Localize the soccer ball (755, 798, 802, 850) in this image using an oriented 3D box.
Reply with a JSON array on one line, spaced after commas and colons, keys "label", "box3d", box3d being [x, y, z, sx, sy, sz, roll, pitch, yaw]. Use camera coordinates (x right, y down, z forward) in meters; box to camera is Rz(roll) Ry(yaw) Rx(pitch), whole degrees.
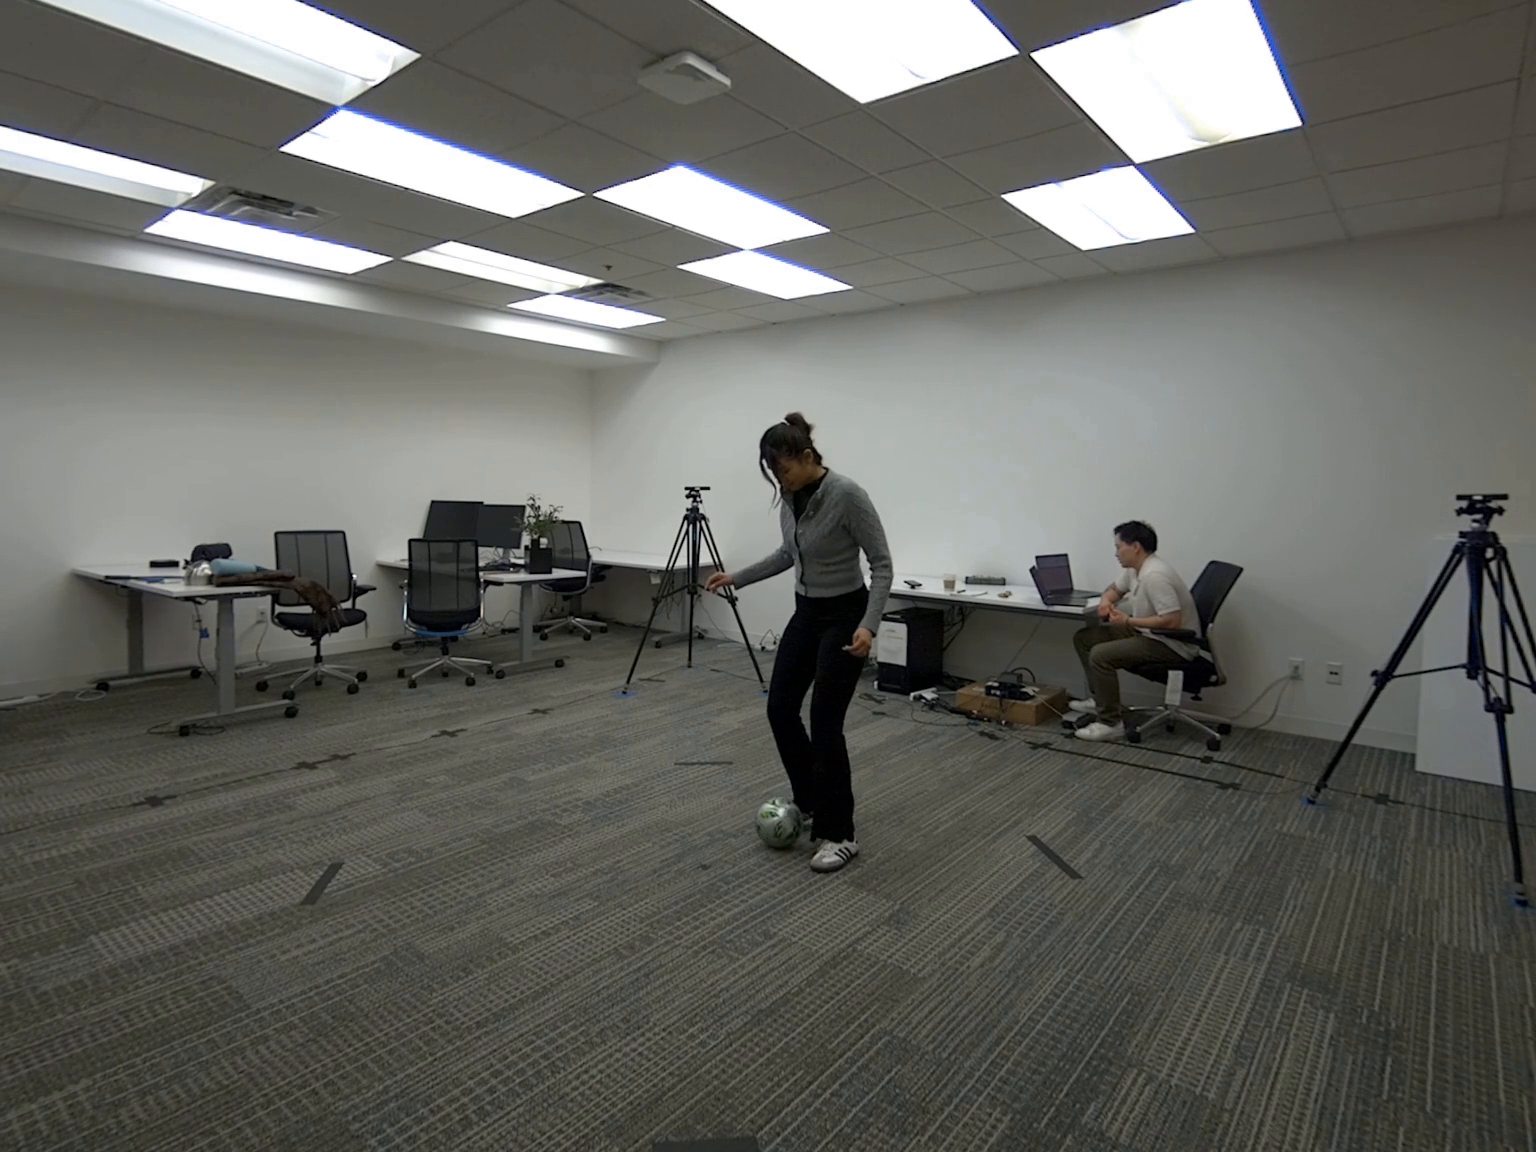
[{"label": "soccer ball", "box3d": [0.033, 0.959, 3.304, 0.187, 0.187, 0.188, 1, 4, -2]}]
